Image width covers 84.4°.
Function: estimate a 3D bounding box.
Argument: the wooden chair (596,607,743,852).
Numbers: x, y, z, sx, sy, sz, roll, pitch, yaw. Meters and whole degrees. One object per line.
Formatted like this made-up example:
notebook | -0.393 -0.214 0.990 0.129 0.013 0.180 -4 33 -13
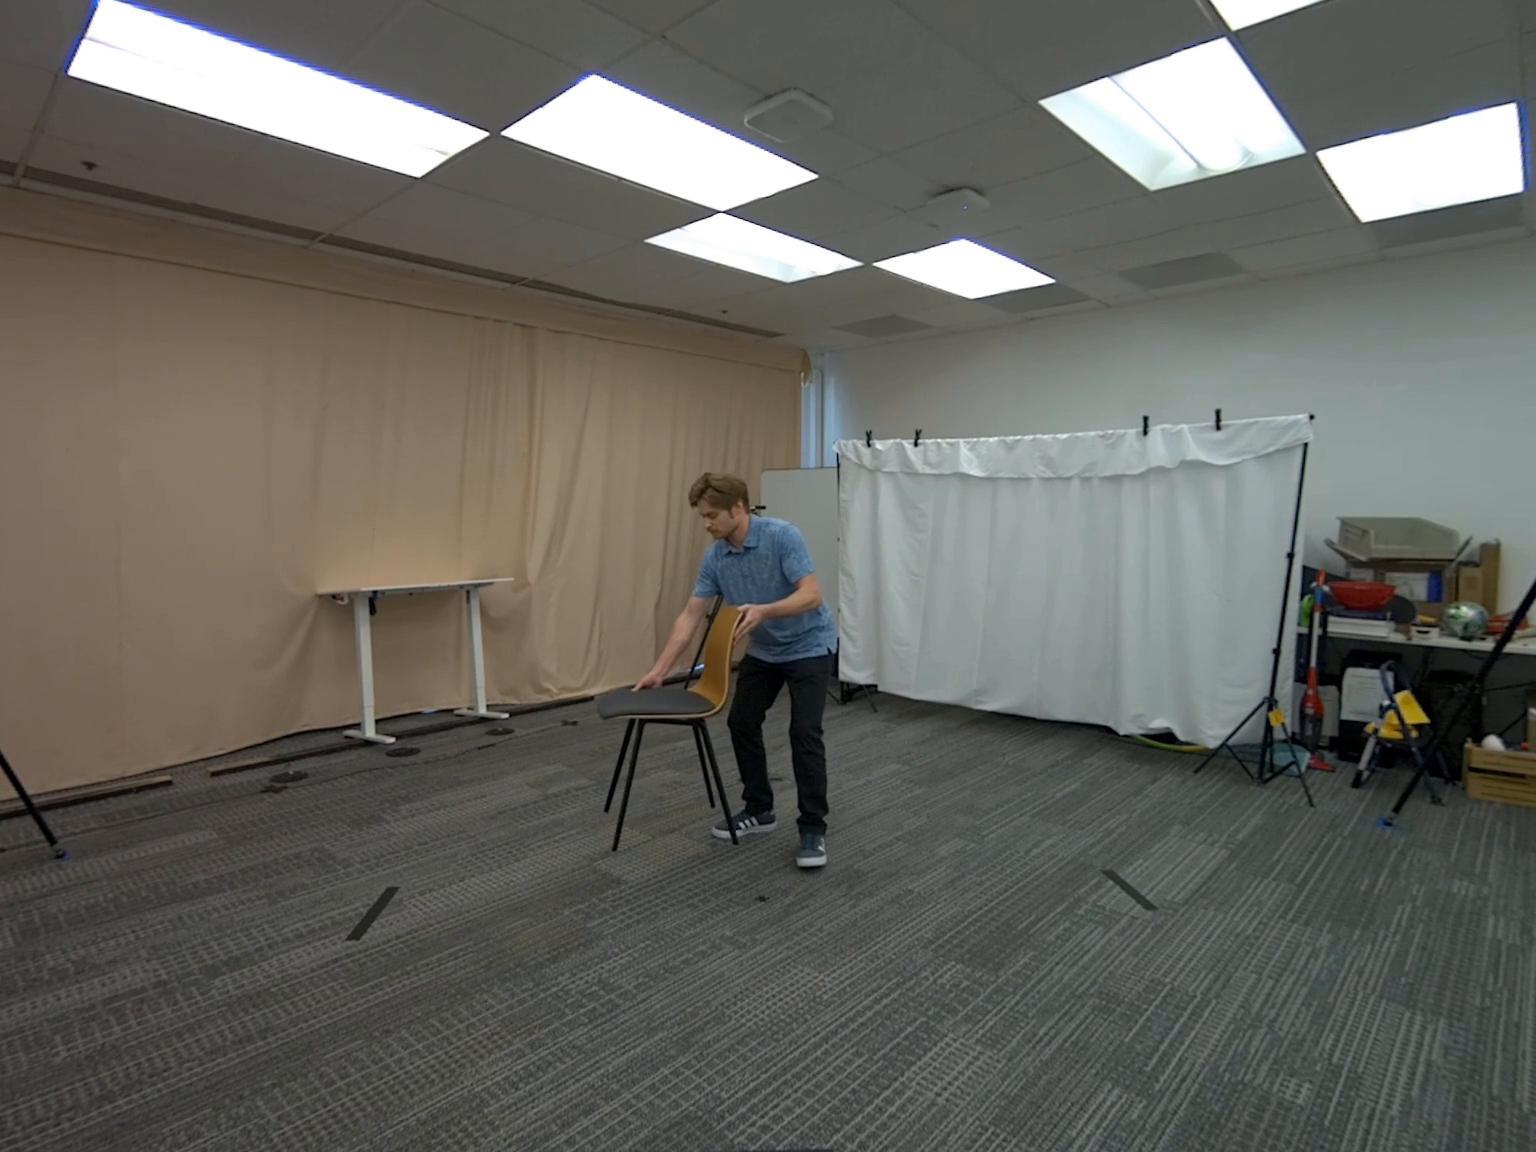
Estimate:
wooden chair | -0.379 0.532 3.184 0.516 0.877 0.485 5 0 -14
